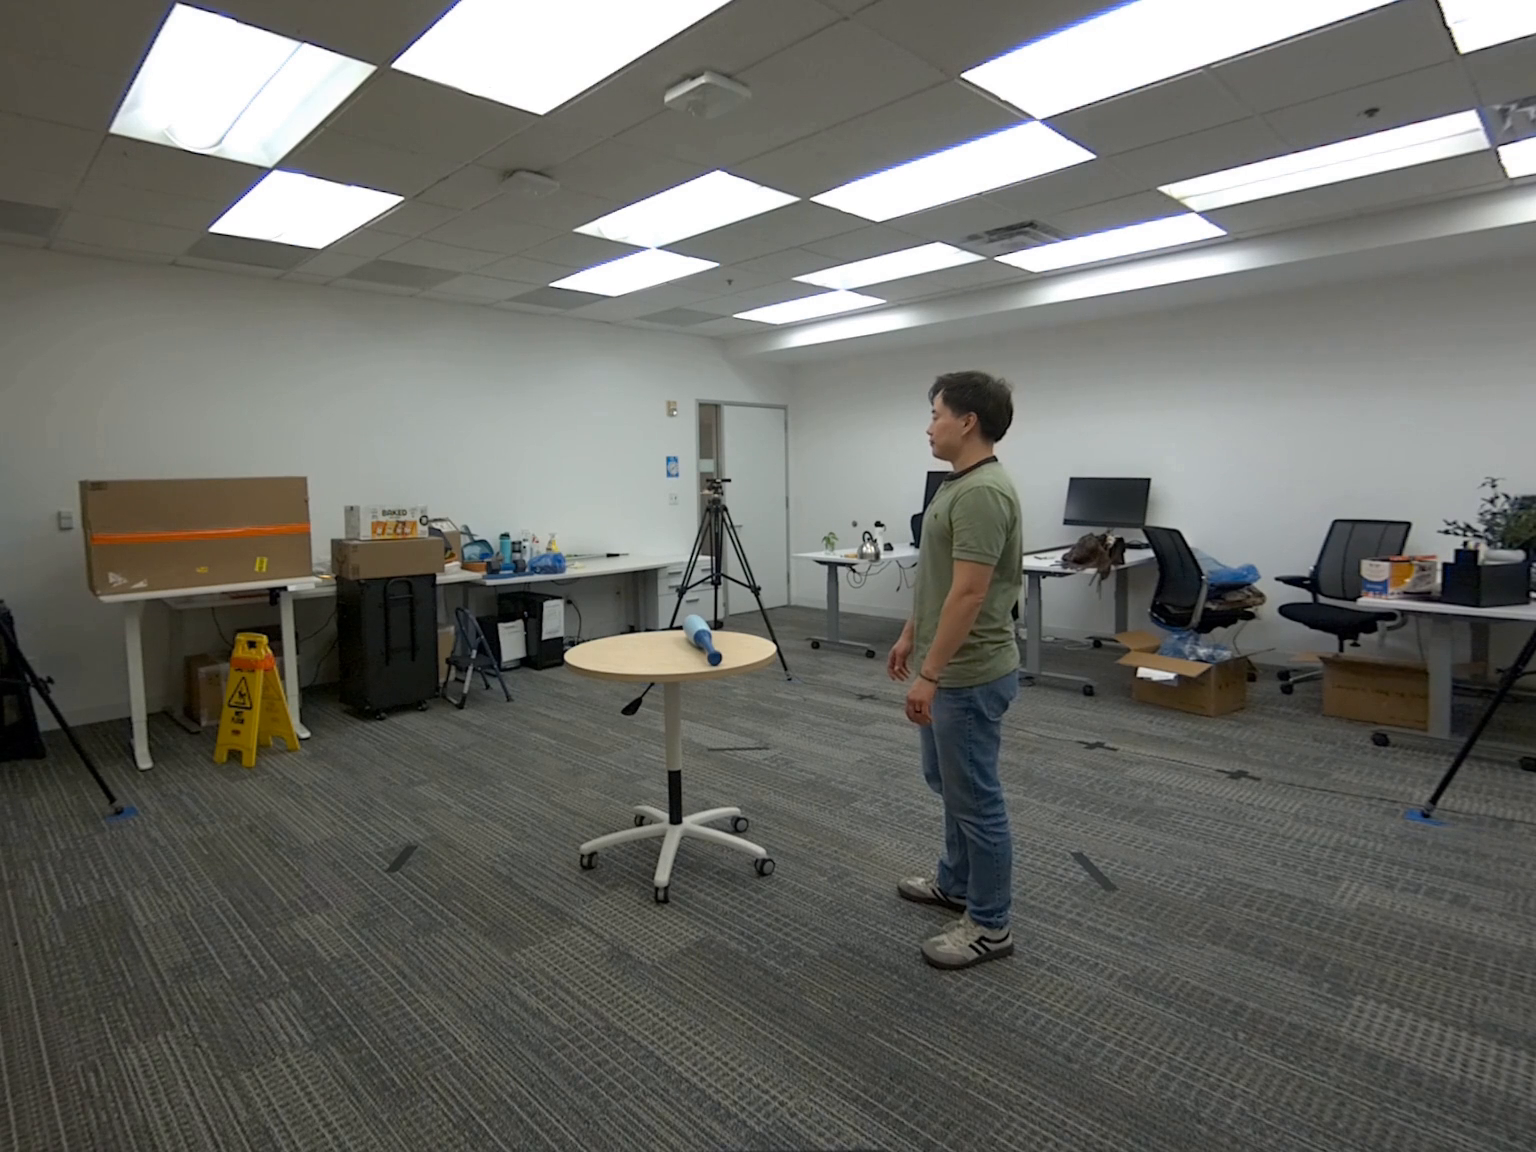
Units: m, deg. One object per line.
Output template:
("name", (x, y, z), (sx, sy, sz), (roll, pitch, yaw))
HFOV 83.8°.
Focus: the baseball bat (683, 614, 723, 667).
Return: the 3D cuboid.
("baseball bat", (-0.231, 0.229, 3.067), (0.088, 0.088, 0.551), (-2, 9, -11))
